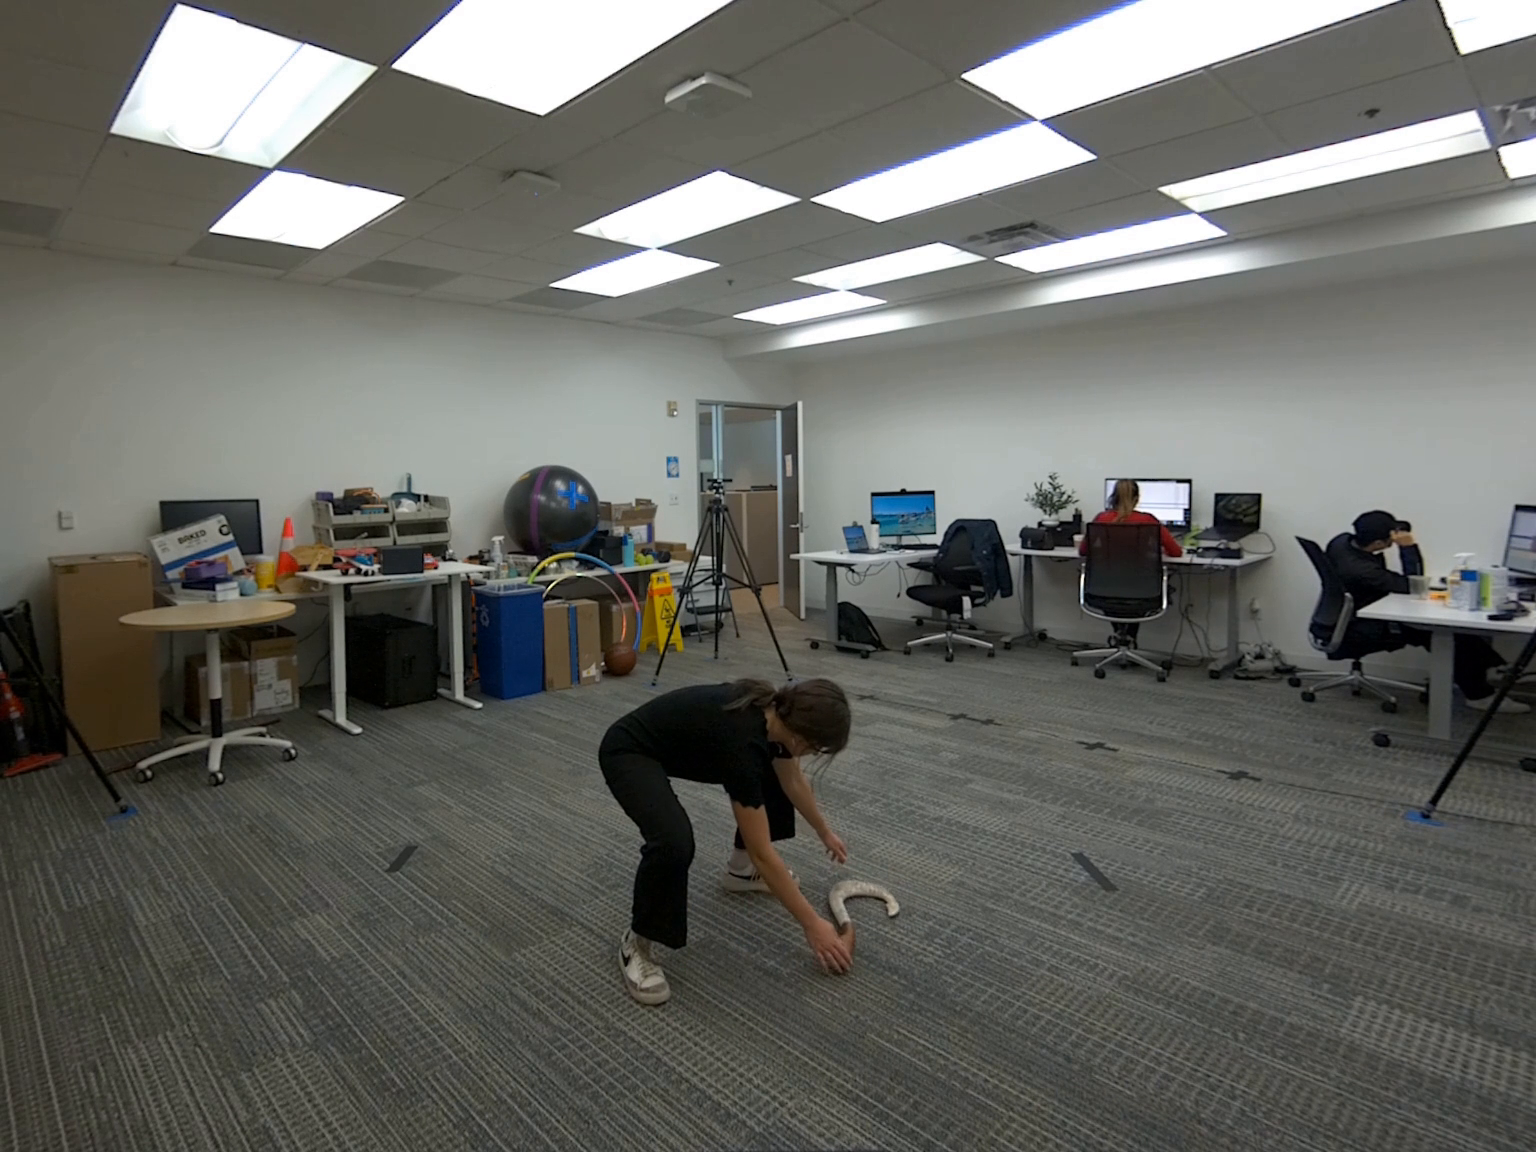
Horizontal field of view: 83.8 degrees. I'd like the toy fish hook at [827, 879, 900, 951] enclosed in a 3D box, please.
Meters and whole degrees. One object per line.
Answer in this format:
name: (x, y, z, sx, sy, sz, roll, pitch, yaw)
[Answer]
toy fish hook: (0.295, 1.070, 2.646, 0.227, 0.048, 0.504, -2, 7, 9)
